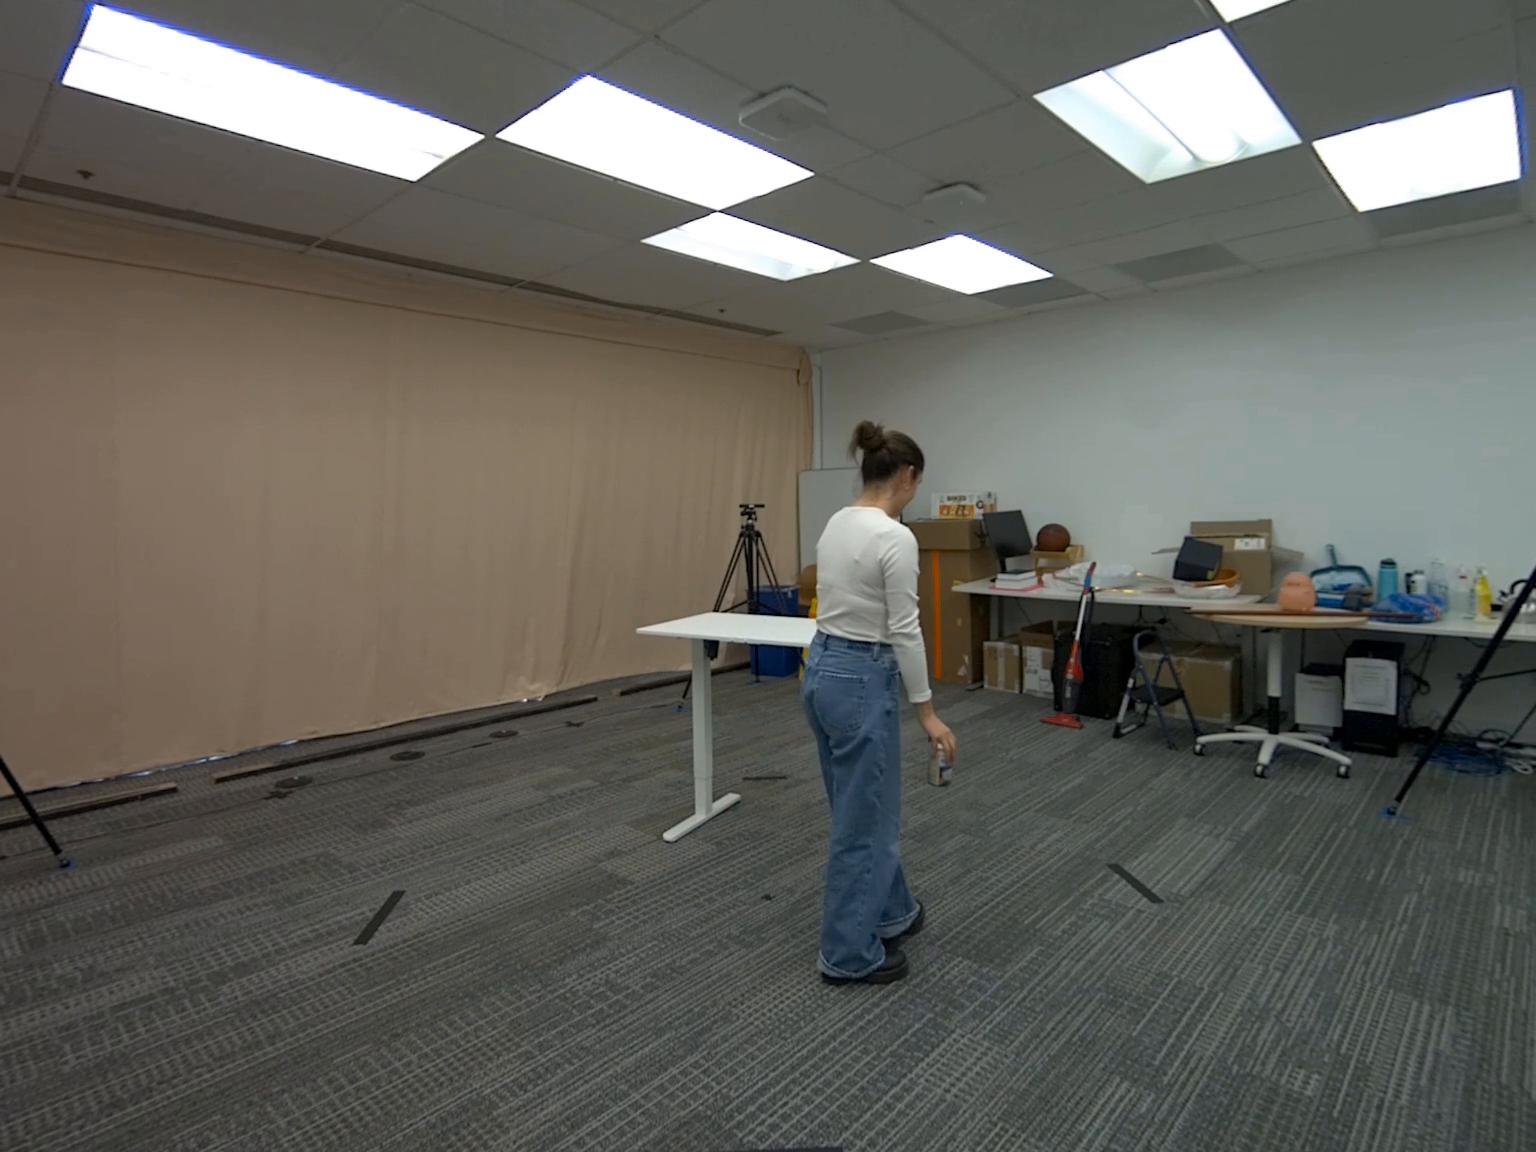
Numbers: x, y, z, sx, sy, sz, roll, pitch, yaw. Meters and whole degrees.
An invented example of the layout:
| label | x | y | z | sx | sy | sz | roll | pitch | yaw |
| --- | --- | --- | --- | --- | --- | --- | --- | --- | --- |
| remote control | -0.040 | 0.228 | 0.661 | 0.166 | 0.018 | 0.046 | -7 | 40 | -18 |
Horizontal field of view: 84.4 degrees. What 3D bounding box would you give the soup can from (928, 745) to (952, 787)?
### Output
| label | x | y | z | sx | sy | sz | roll | pitch | yaw |
| --- | --- | --- | --- | --- | --- | --- | --- | --- | --- |
| soup can | 0.488 | 0.538 | 2.417 | 0.067 | 0.120 | 0.068 | -1 | 13 | -2 |
